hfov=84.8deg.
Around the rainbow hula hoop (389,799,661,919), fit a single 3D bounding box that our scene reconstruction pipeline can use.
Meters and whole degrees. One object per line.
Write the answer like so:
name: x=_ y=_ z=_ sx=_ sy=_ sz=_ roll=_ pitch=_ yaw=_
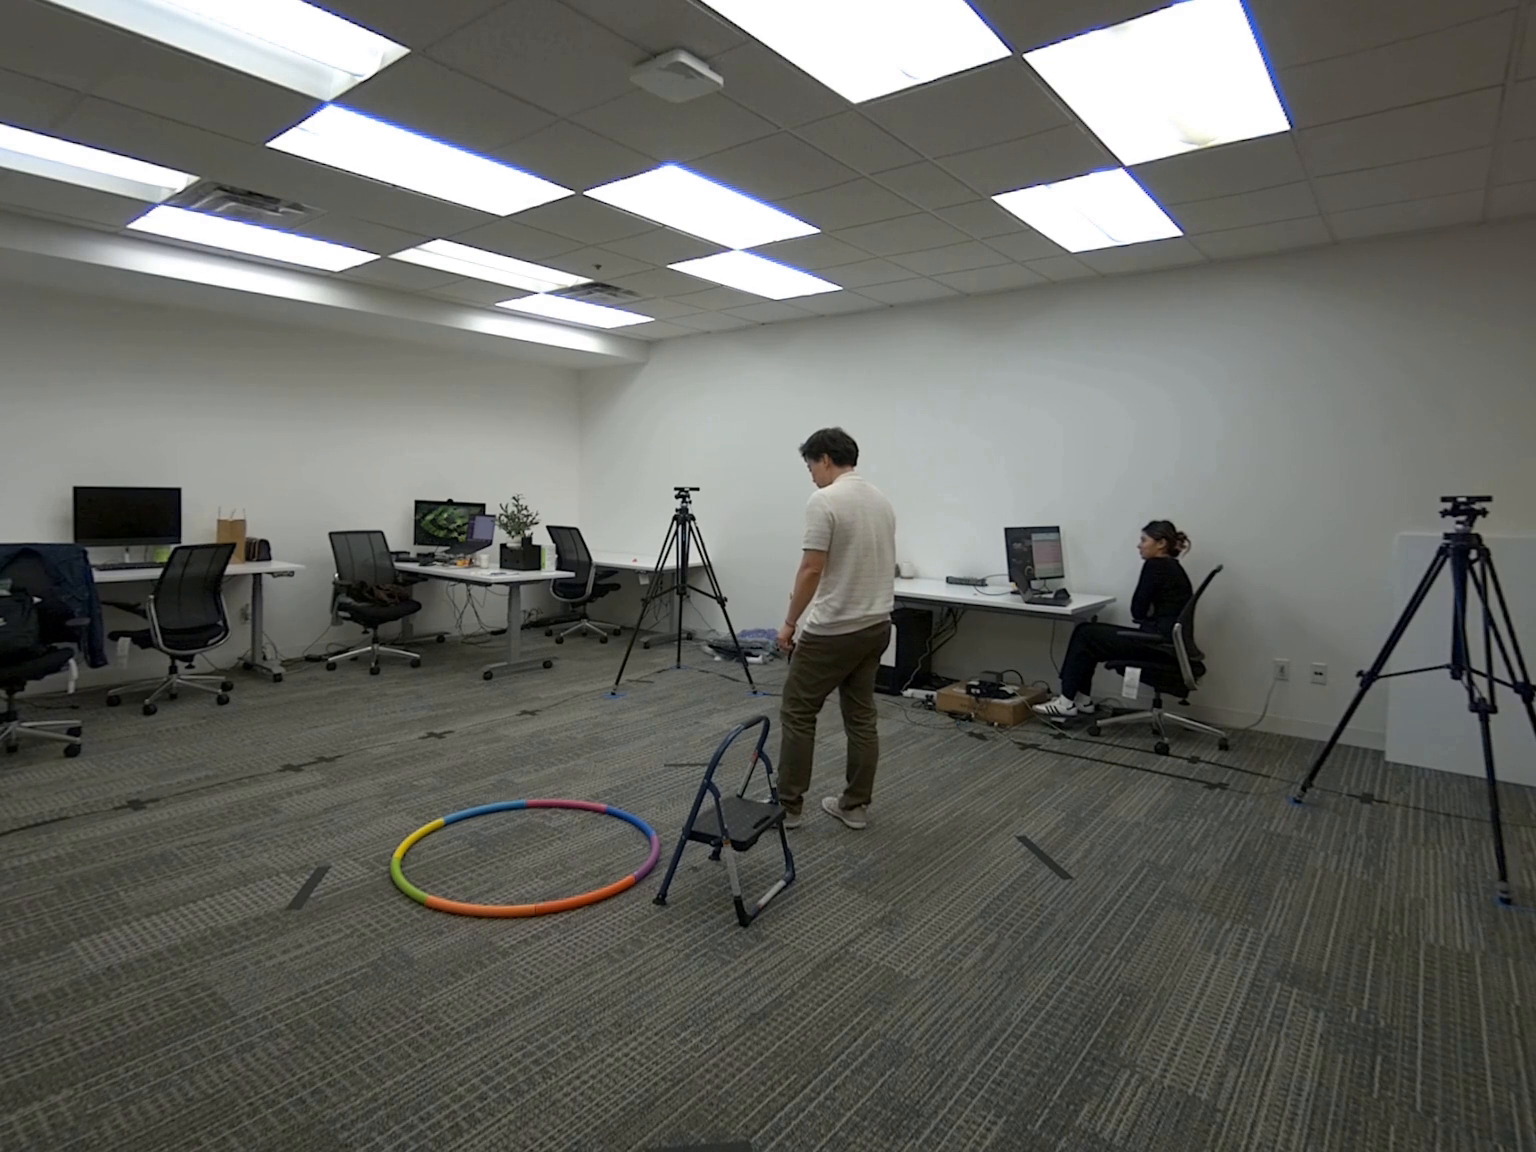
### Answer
rainbow hula hoop: x=-0.911 y=1.016 z=3.209 sx=0.978 sy=0.035 sz=0.984 roll=1 pitch=6 yaw=-2
